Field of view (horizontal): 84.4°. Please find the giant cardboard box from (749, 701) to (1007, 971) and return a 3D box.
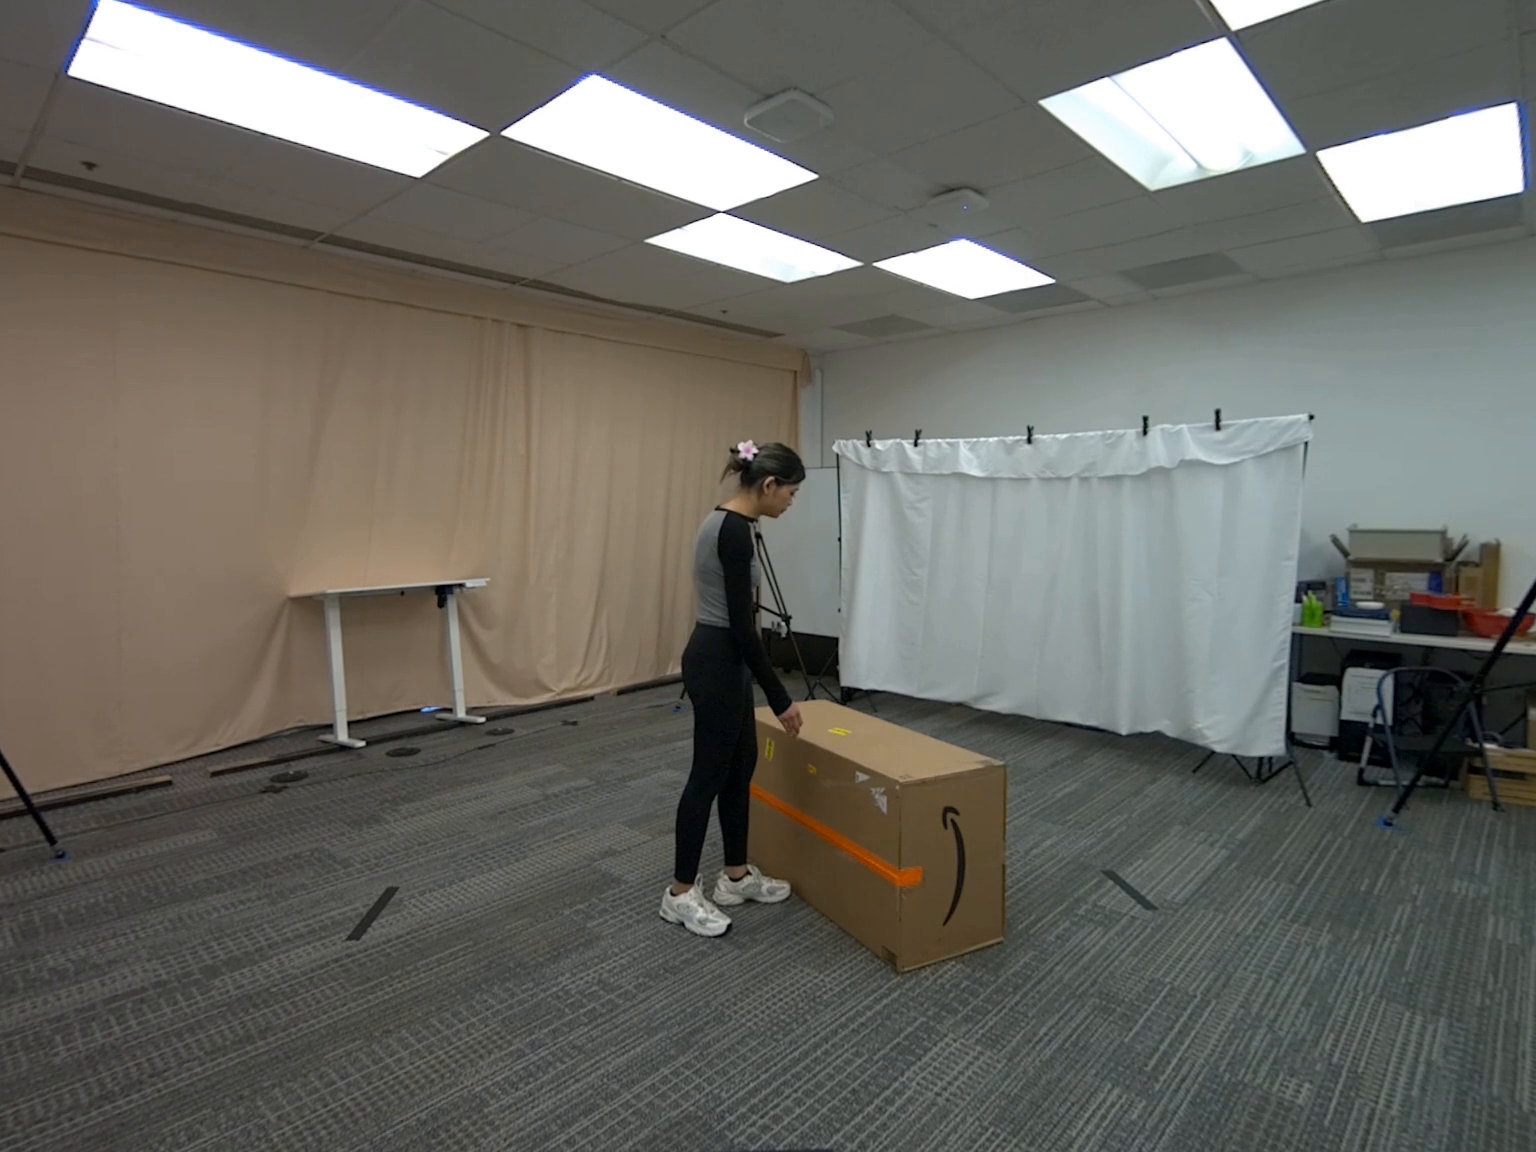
[{"bbox_3d":[0.320,0.850,3.033,0.415,0.576,1.055,-2,4,-29],"label":"giant cardboard box"}]
